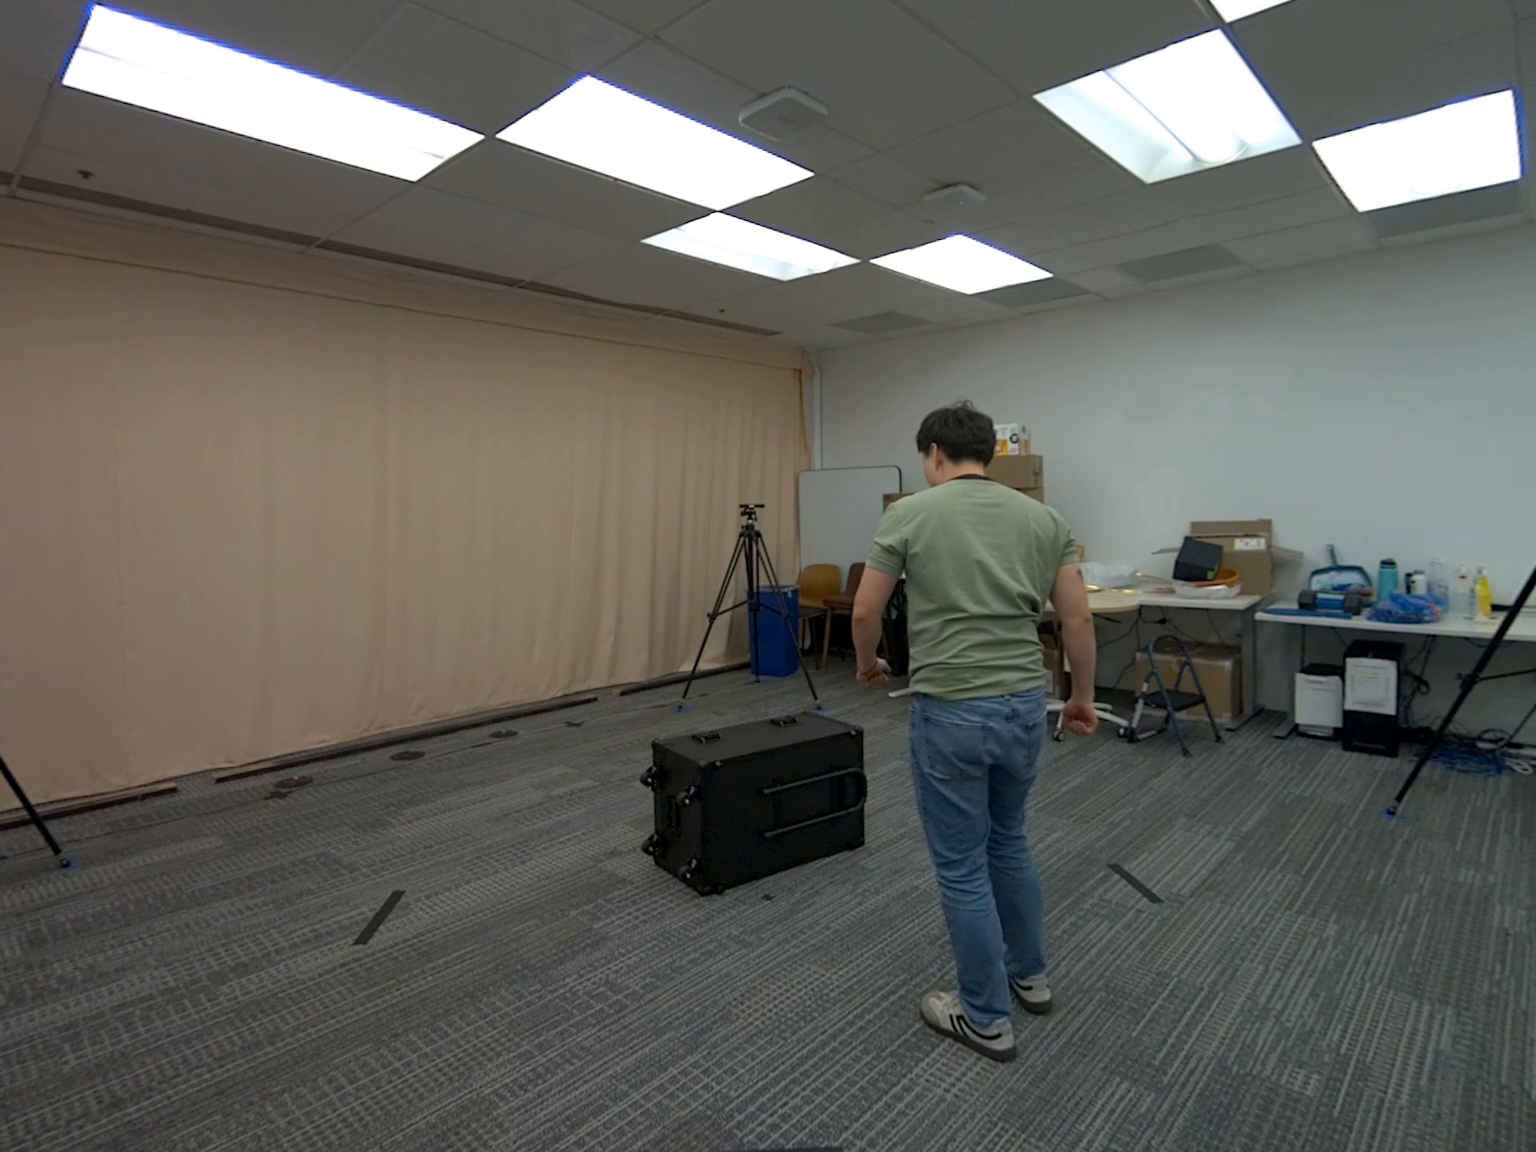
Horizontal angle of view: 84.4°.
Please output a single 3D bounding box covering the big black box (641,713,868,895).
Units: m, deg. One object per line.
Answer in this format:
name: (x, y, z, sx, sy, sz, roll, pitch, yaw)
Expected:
big black box: (-0.045, 0.870, 3.308, 0.837, 0.520, 0.408, -4, 5, -34)
